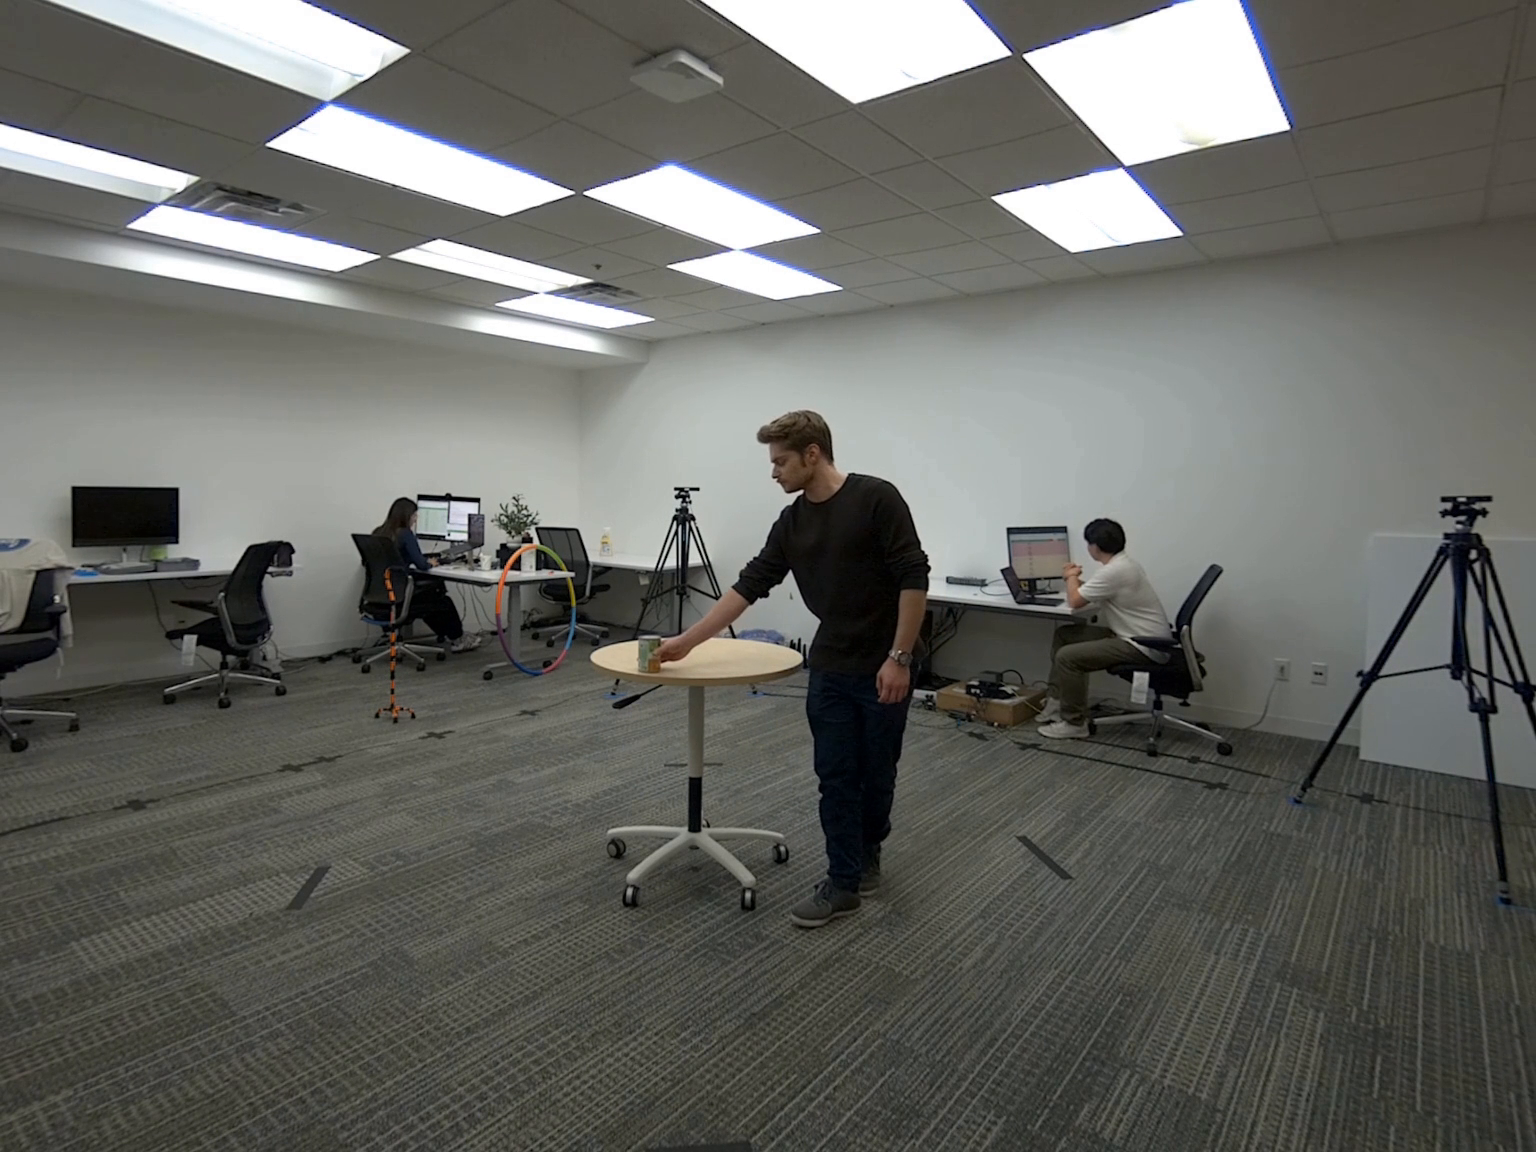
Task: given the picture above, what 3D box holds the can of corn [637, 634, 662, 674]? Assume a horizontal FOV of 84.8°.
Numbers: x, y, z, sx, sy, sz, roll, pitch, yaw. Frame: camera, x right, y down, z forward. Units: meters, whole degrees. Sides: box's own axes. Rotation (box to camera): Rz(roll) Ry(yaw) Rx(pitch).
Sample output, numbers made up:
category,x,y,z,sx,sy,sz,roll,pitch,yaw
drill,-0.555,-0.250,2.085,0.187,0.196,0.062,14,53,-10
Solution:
category,x,y,z,sx,sy,sz,roll,pitch,yaw
can of corn,-0.400,0.254,2.799,0.074,0.111,0.074,3,4,-2
